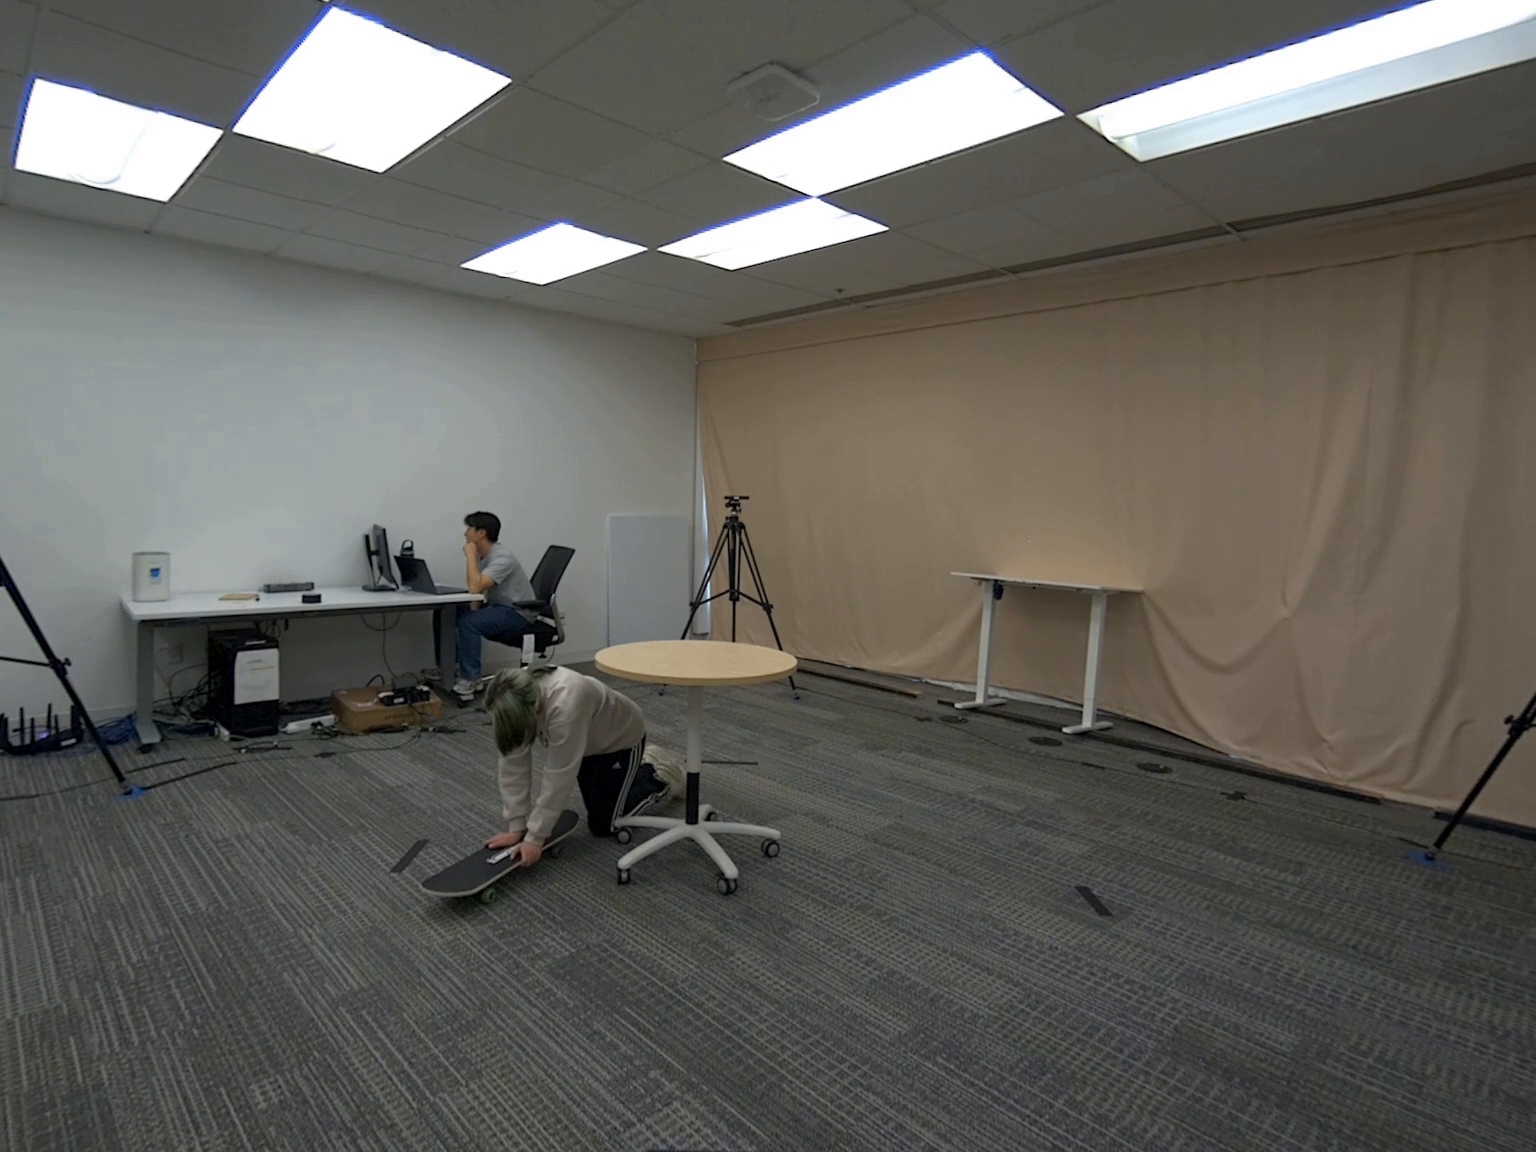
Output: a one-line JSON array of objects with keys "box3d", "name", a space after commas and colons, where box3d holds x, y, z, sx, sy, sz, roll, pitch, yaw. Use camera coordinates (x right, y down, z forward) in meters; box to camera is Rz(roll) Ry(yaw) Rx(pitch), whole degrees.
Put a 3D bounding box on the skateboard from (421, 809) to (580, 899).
[{"box3d": [-0.951, 1.021, 3.064, 0.197, 0.110, 0.774, 4, 6, 21], "name": "skateboard"}]
